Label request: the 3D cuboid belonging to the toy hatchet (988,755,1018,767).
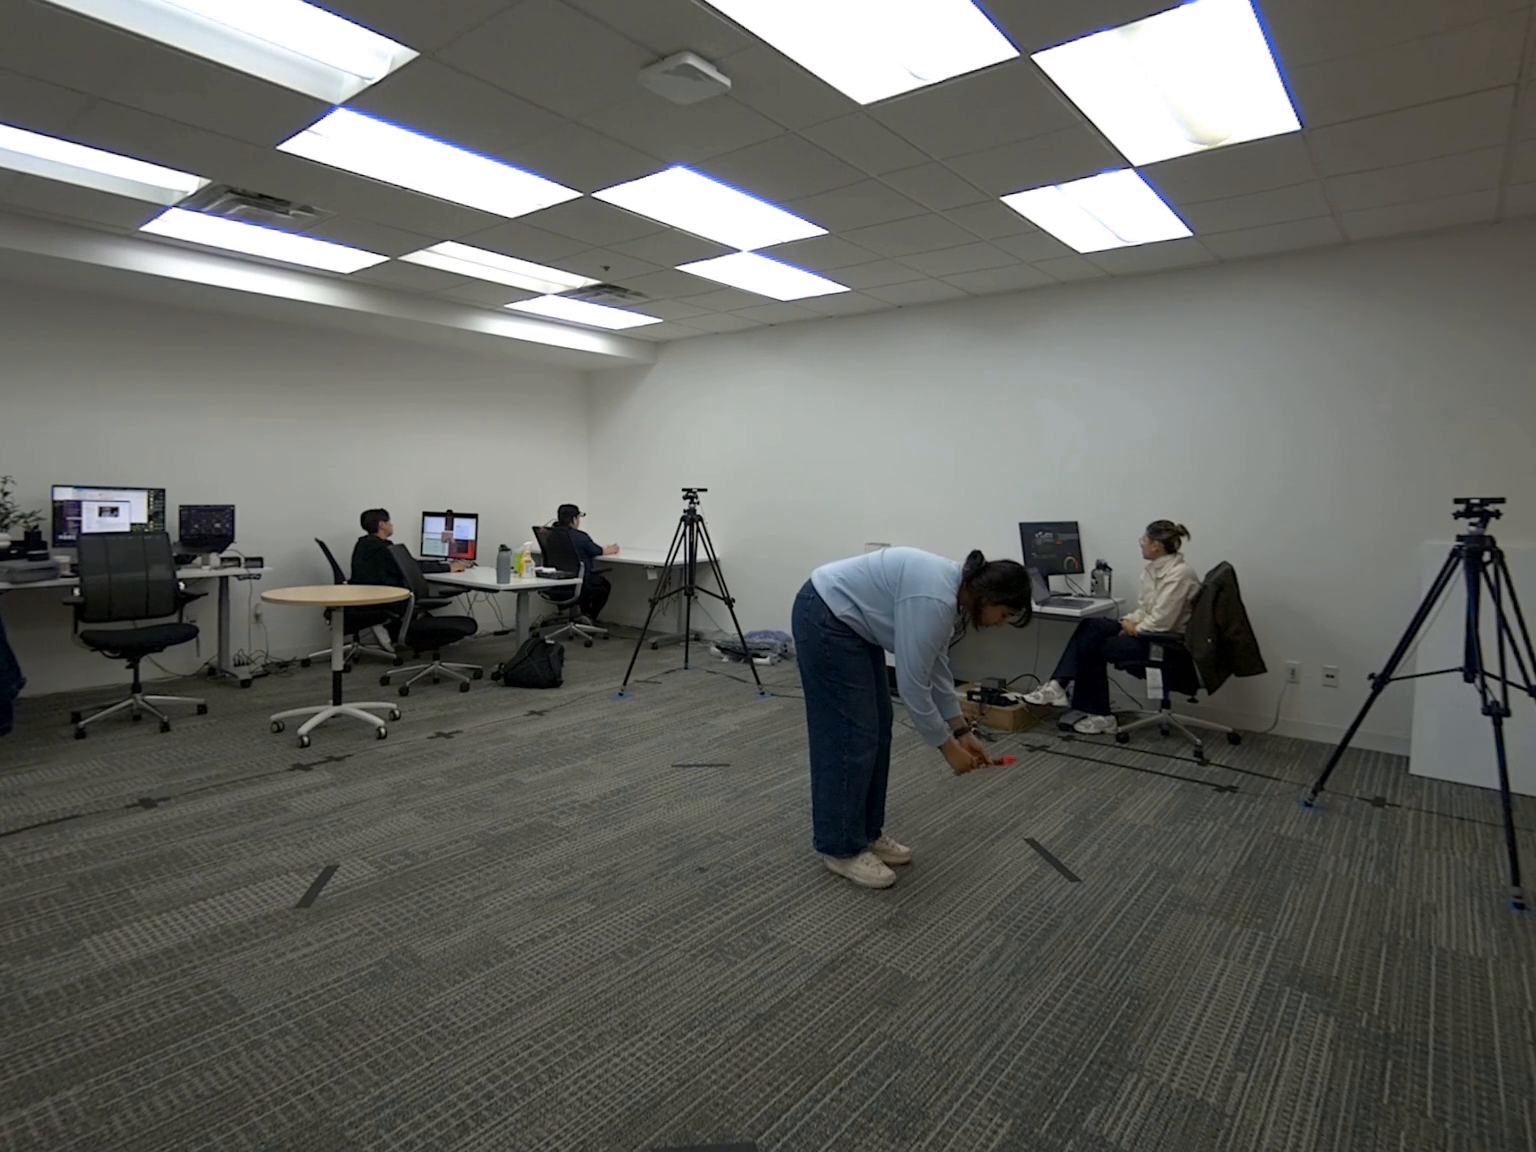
[{"bbox_3d":[0.756,0.690,3.074,0.265,0.030,0.131,-4,-15,-19],"label":"toy hatchet"}]
